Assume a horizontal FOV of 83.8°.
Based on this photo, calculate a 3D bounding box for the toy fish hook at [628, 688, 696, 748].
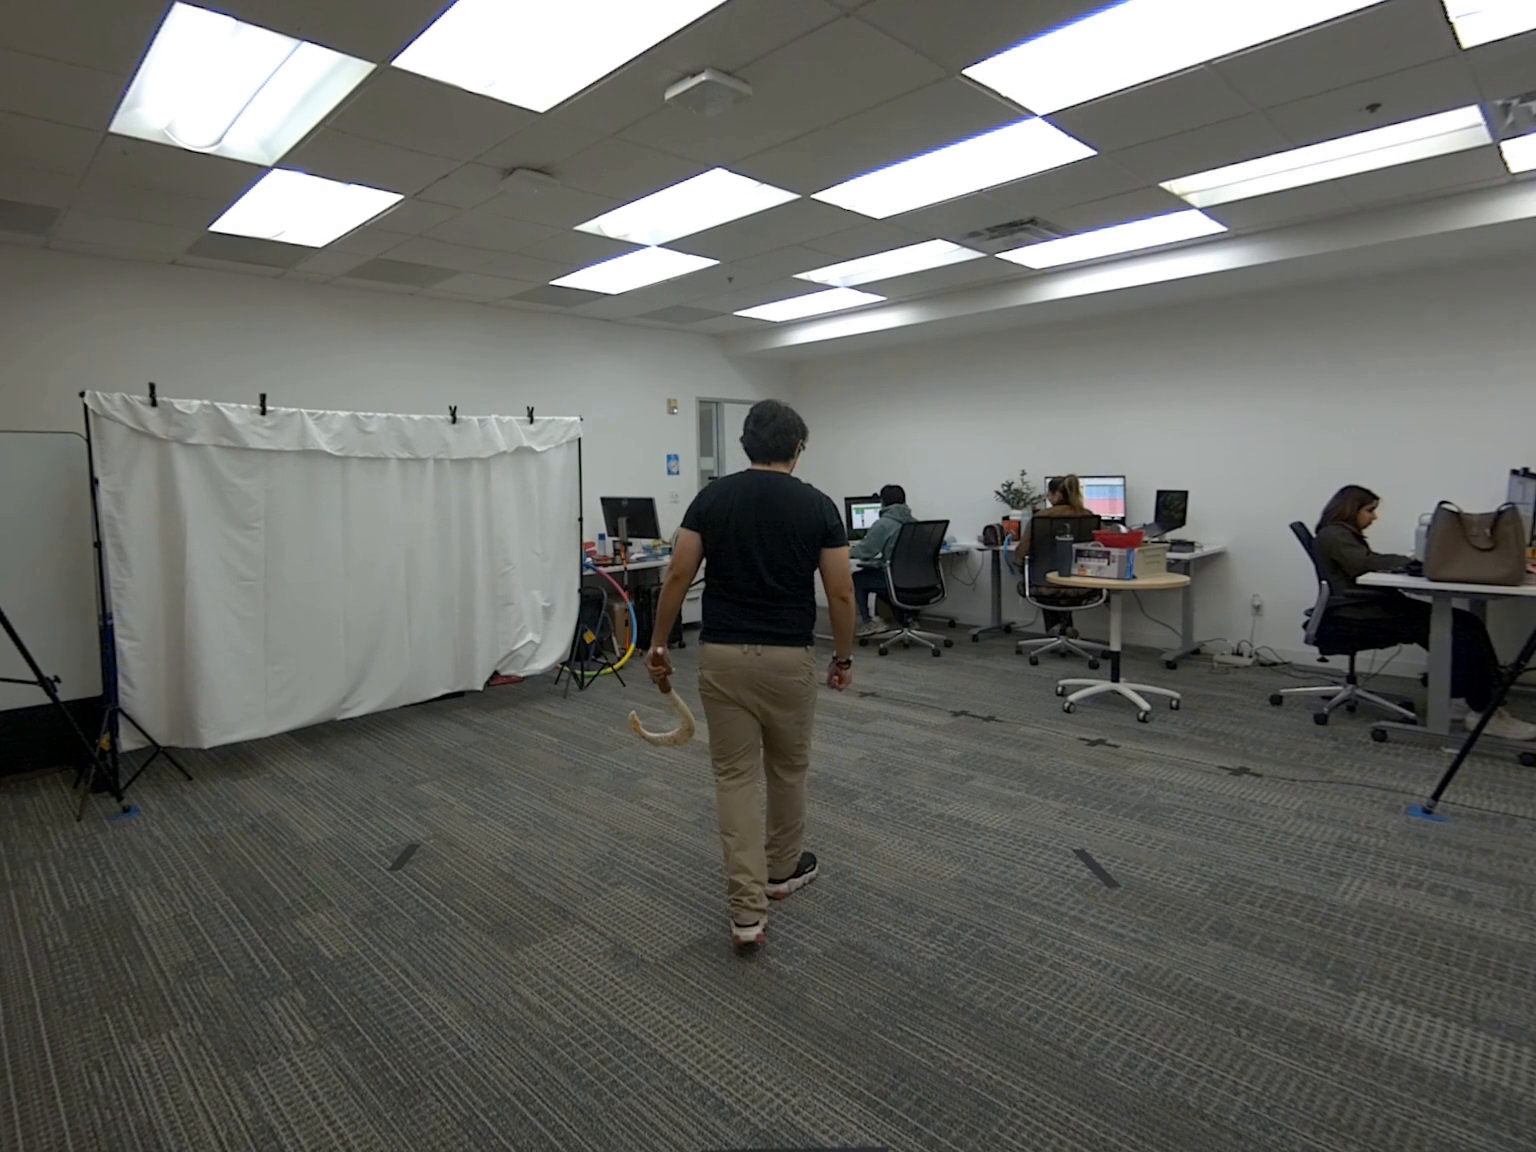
[{"bbox_3d":[-0.383,0.419,2.910,0.225,0.491,0.050,-7,40,3],"label":"toy fish hook"}]
